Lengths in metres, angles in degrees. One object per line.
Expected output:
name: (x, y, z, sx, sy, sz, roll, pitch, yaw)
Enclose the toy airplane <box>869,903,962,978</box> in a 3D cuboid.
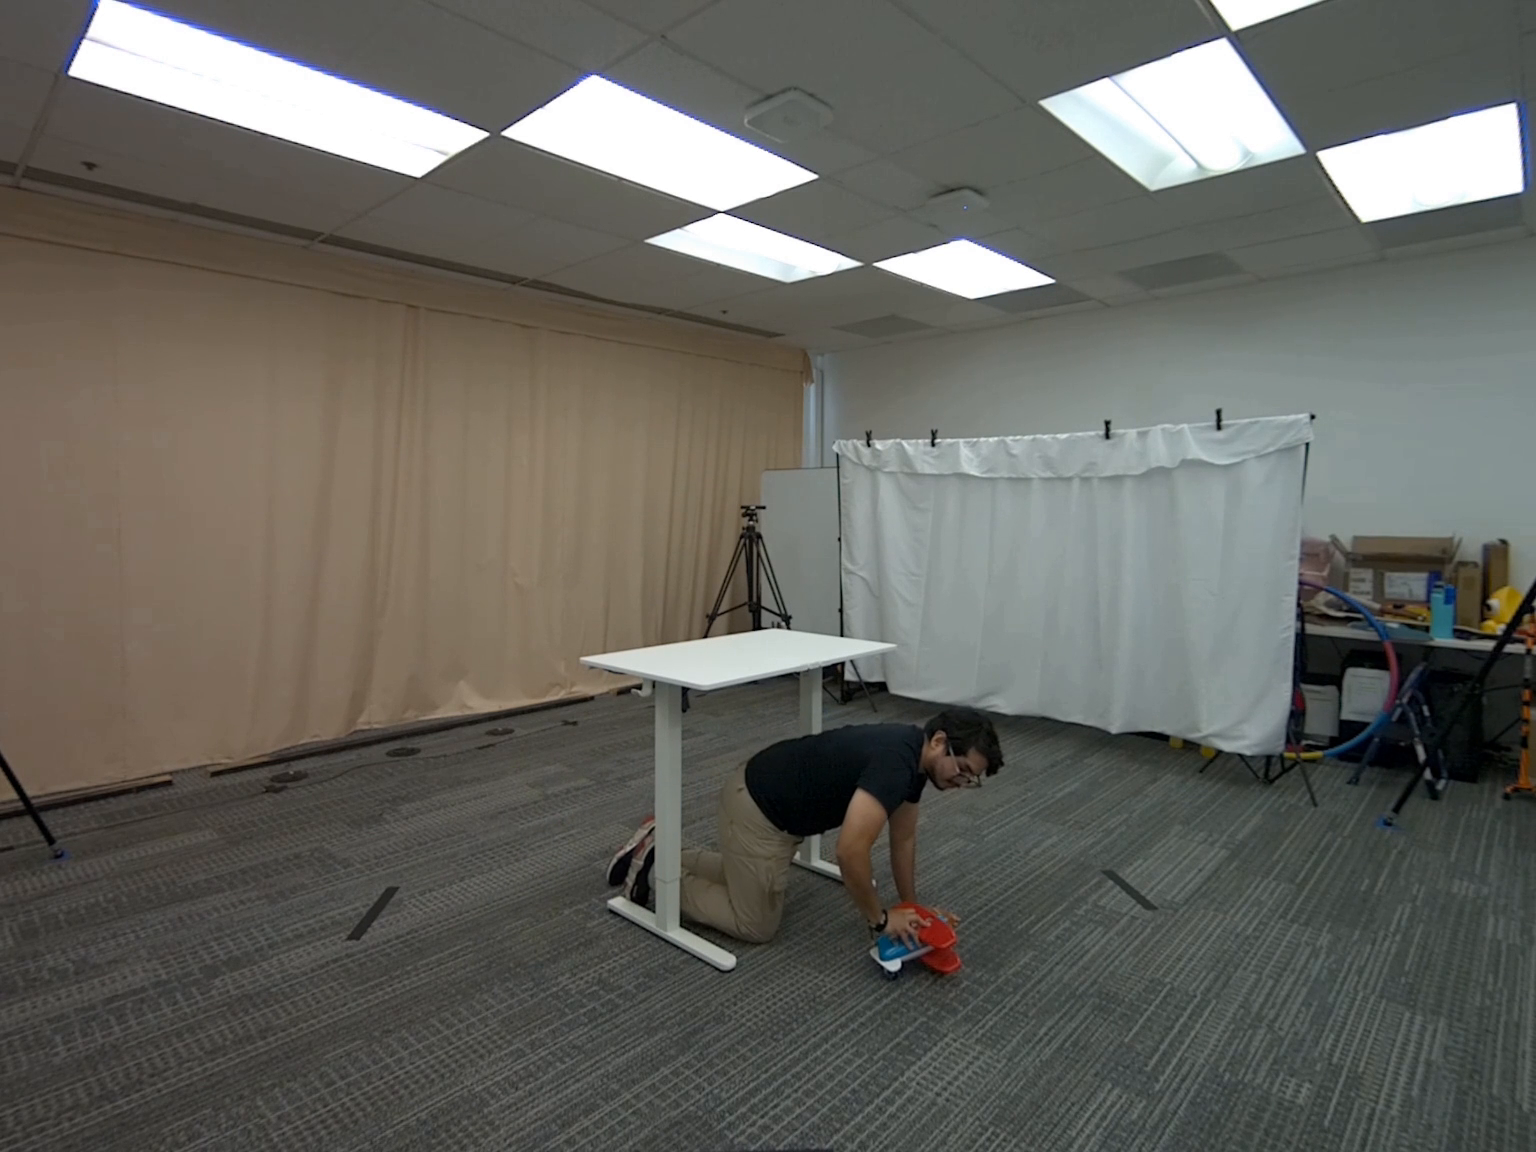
toy airplane: (0.451, 1.109, 2.503, 0.259, 0.156, 0.251, 5, 6, 37)
